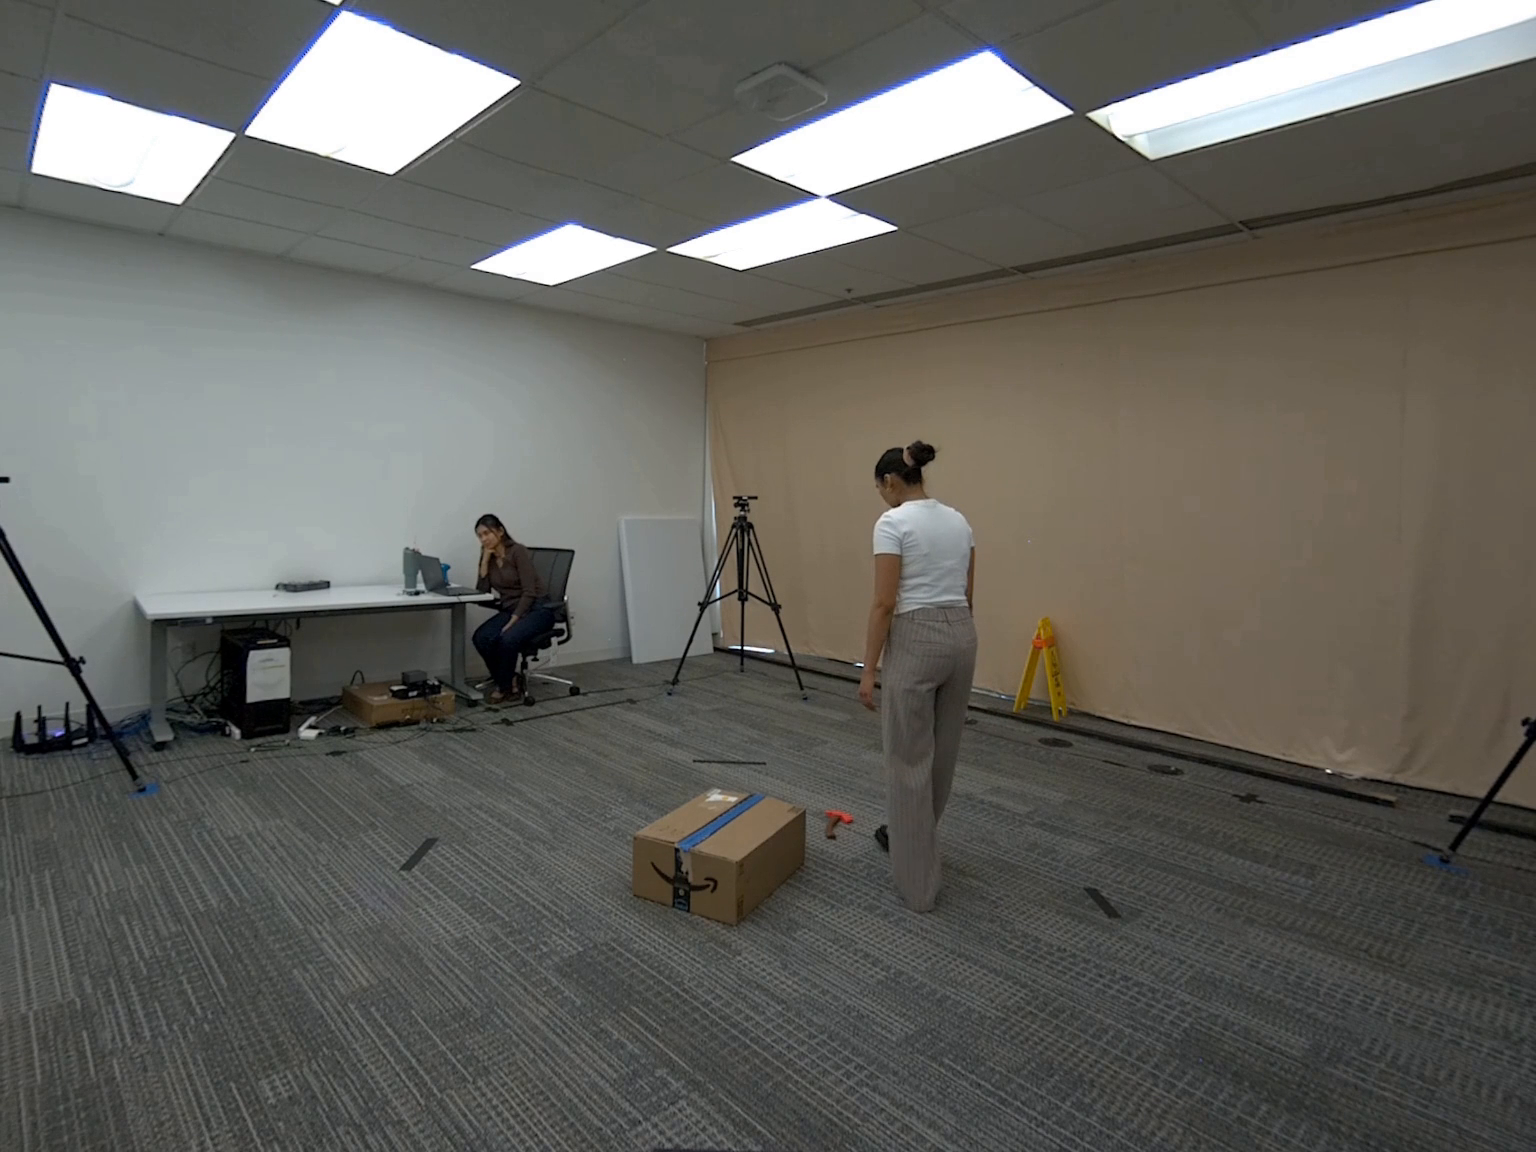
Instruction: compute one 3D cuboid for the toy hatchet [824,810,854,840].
[{"bbox_3d":[0.299,1.061,3.583,0.131,0.029,0.271,4,7,1],"label":"toy hatchet"}]
